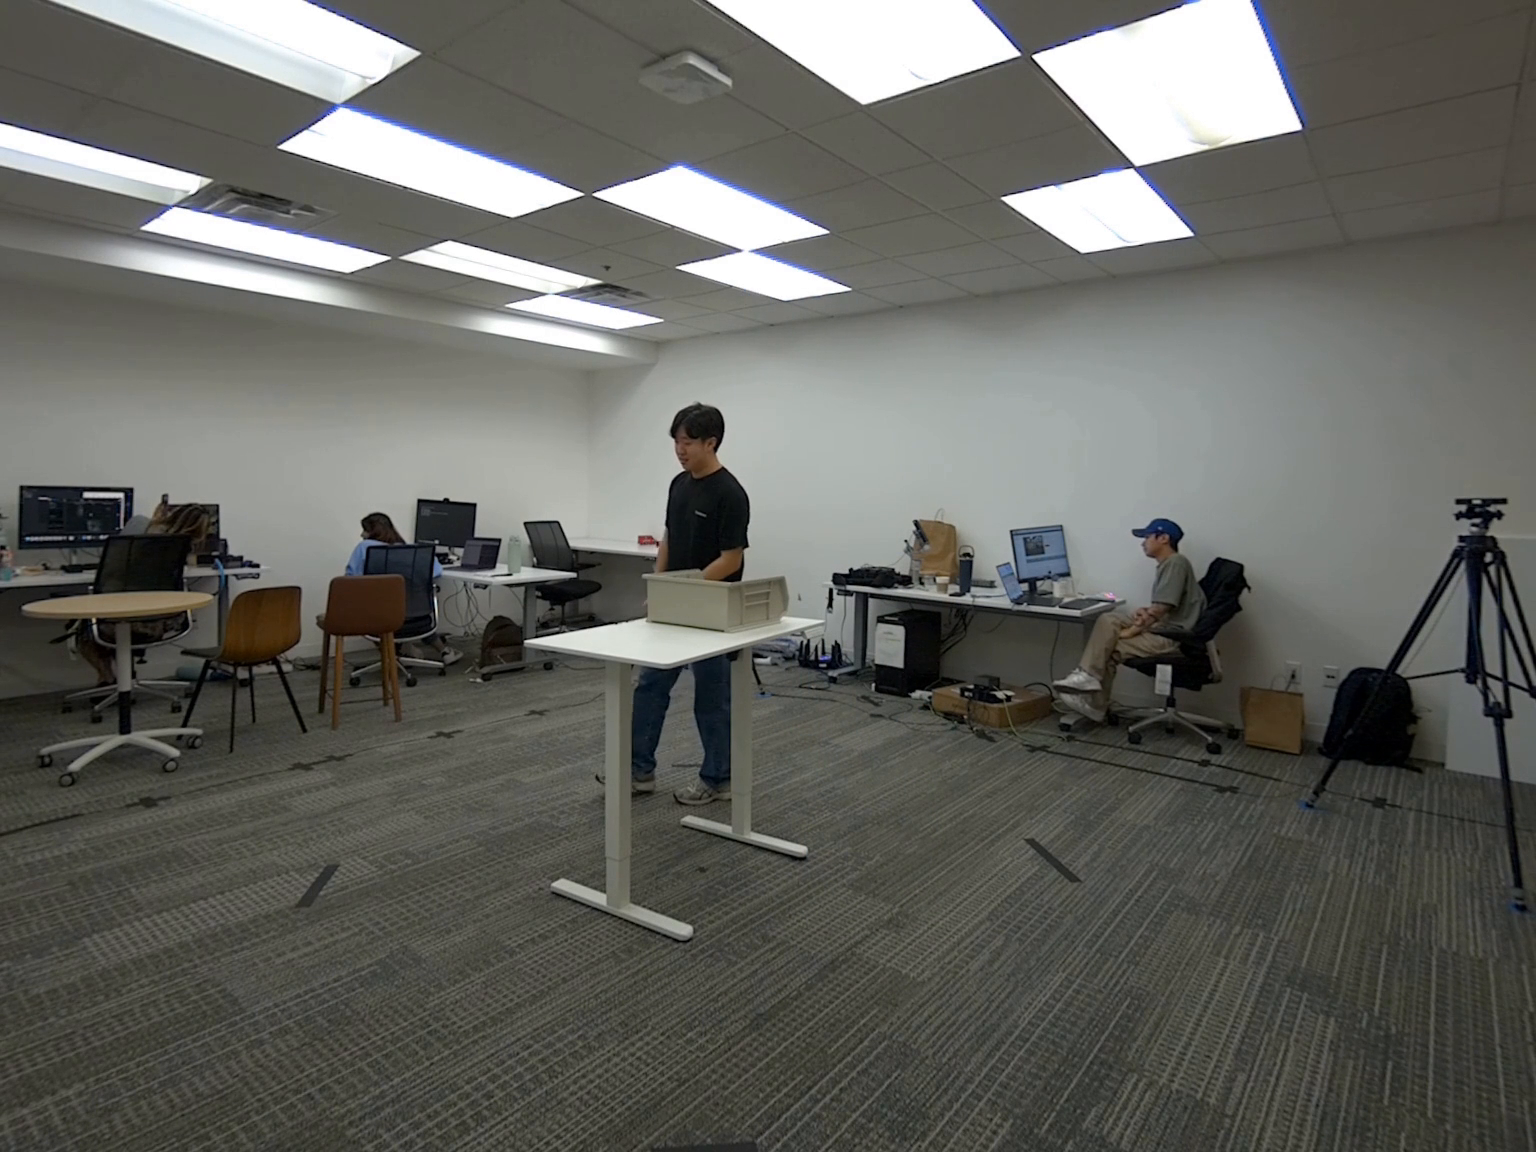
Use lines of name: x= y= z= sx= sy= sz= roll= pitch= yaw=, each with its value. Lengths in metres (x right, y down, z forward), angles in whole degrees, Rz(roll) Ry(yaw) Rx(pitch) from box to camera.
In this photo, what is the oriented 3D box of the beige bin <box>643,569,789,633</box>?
beige bin: x=-0.208 y=0.088 z=3.234 sx=0.436 sy=0.188 sz=0.367 roll=5 pitch=8 yaw=36
